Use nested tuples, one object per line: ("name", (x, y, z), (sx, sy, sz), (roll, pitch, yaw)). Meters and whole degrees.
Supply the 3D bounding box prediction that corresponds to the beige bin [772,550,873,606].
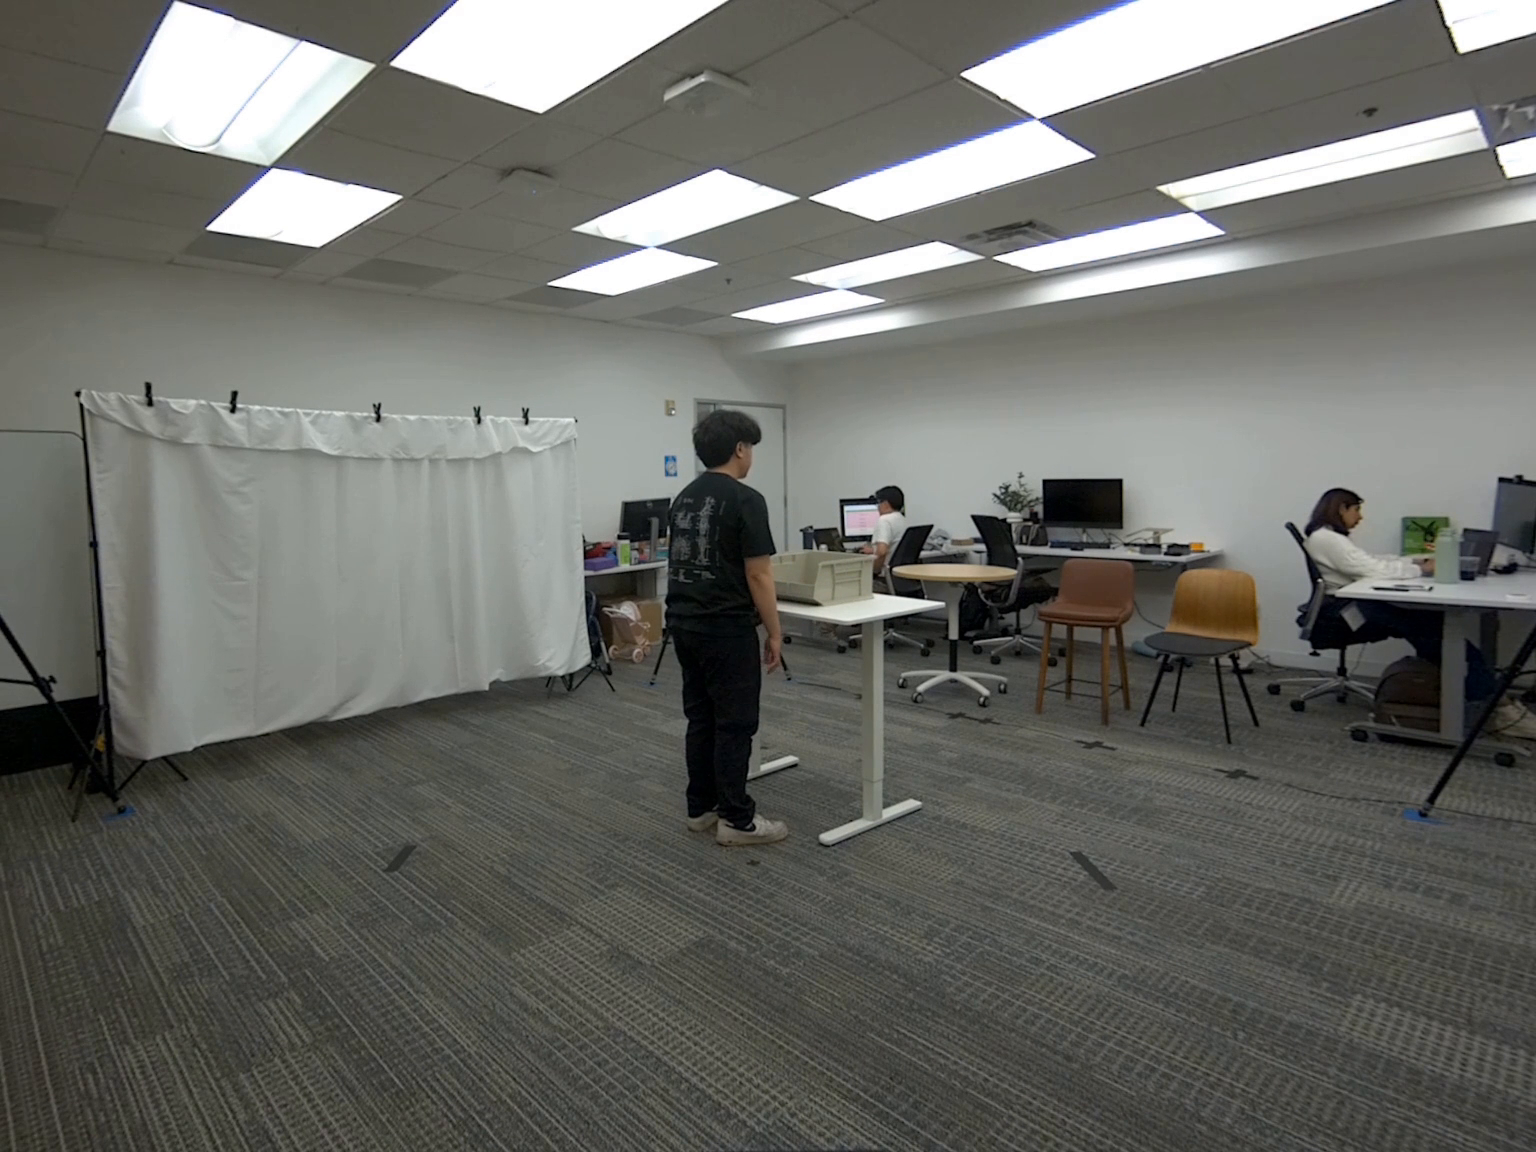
("beige bin", (0.182, 0.006, 3.644), (0.367, 0.188, 0.435), (-5, 7, -40))
